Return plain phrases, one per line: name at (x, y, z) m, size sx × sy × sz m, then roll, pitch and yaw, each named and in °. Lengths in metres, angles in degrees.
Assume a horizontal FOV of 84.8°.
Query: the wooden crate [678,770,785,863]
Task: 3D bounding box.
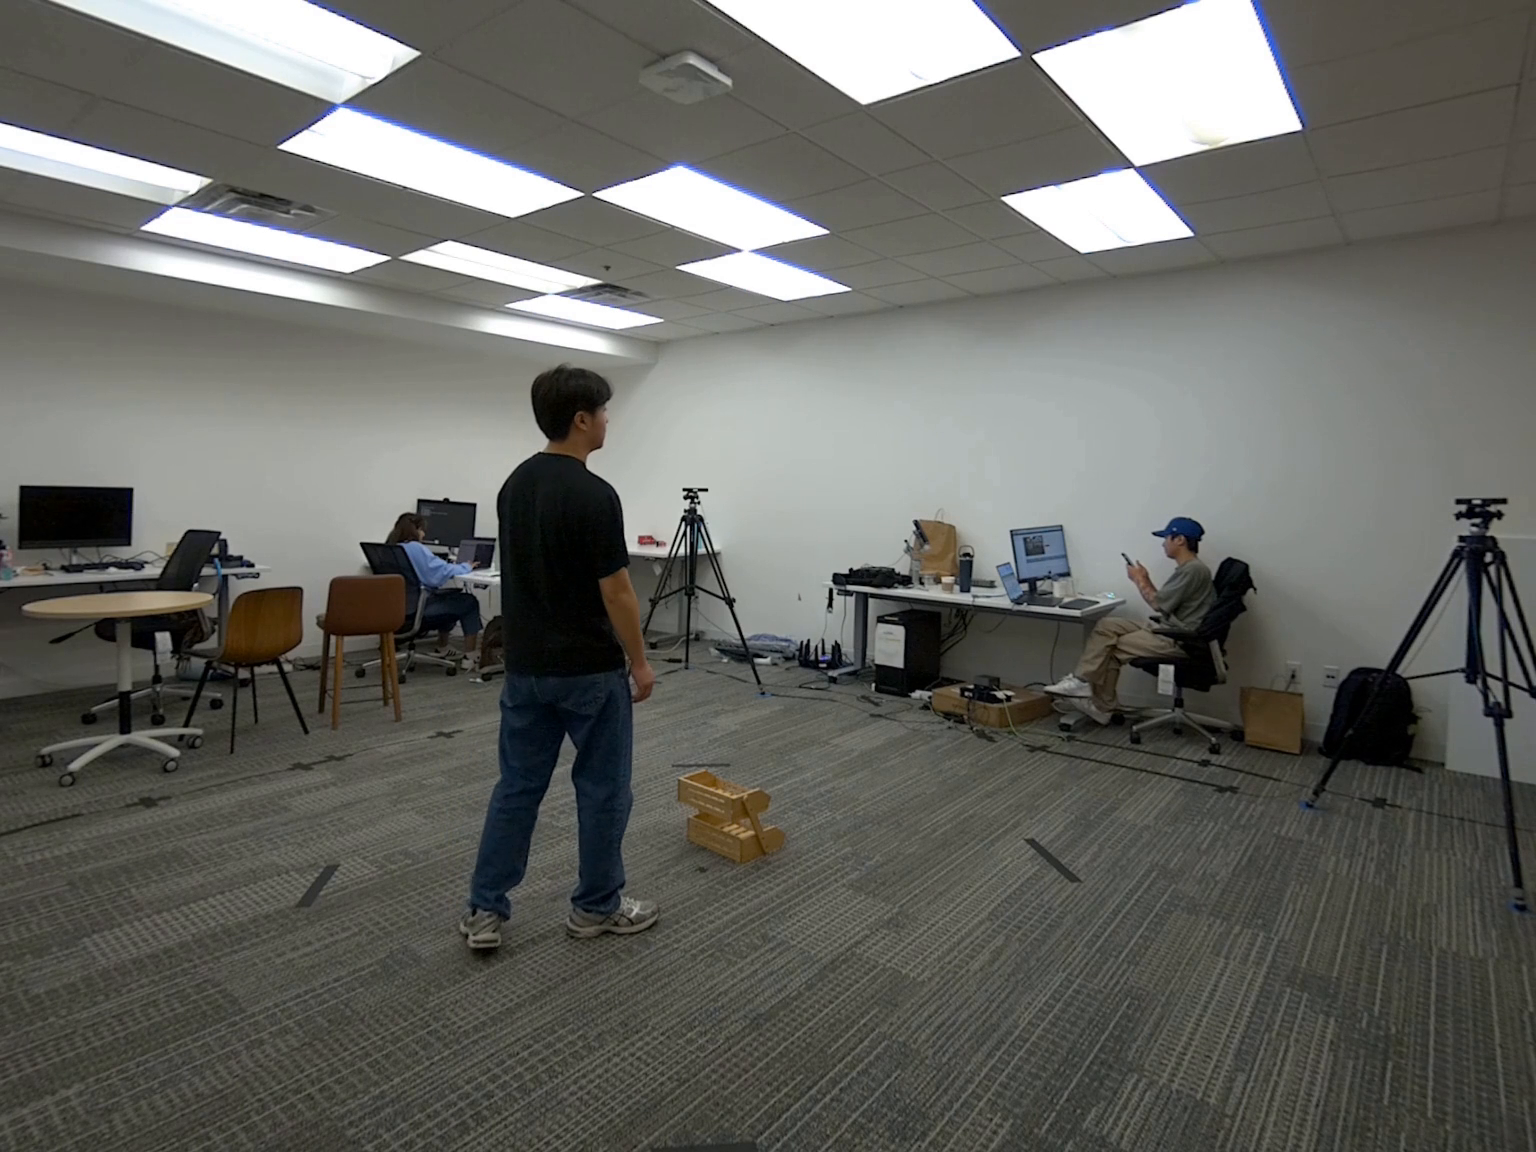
wooden crate at (-0.152, 0.915, 3.331) m, size 0.335 × 0.272 × 0.293 m, roll 5°, pitch 7°, yaw 43°
